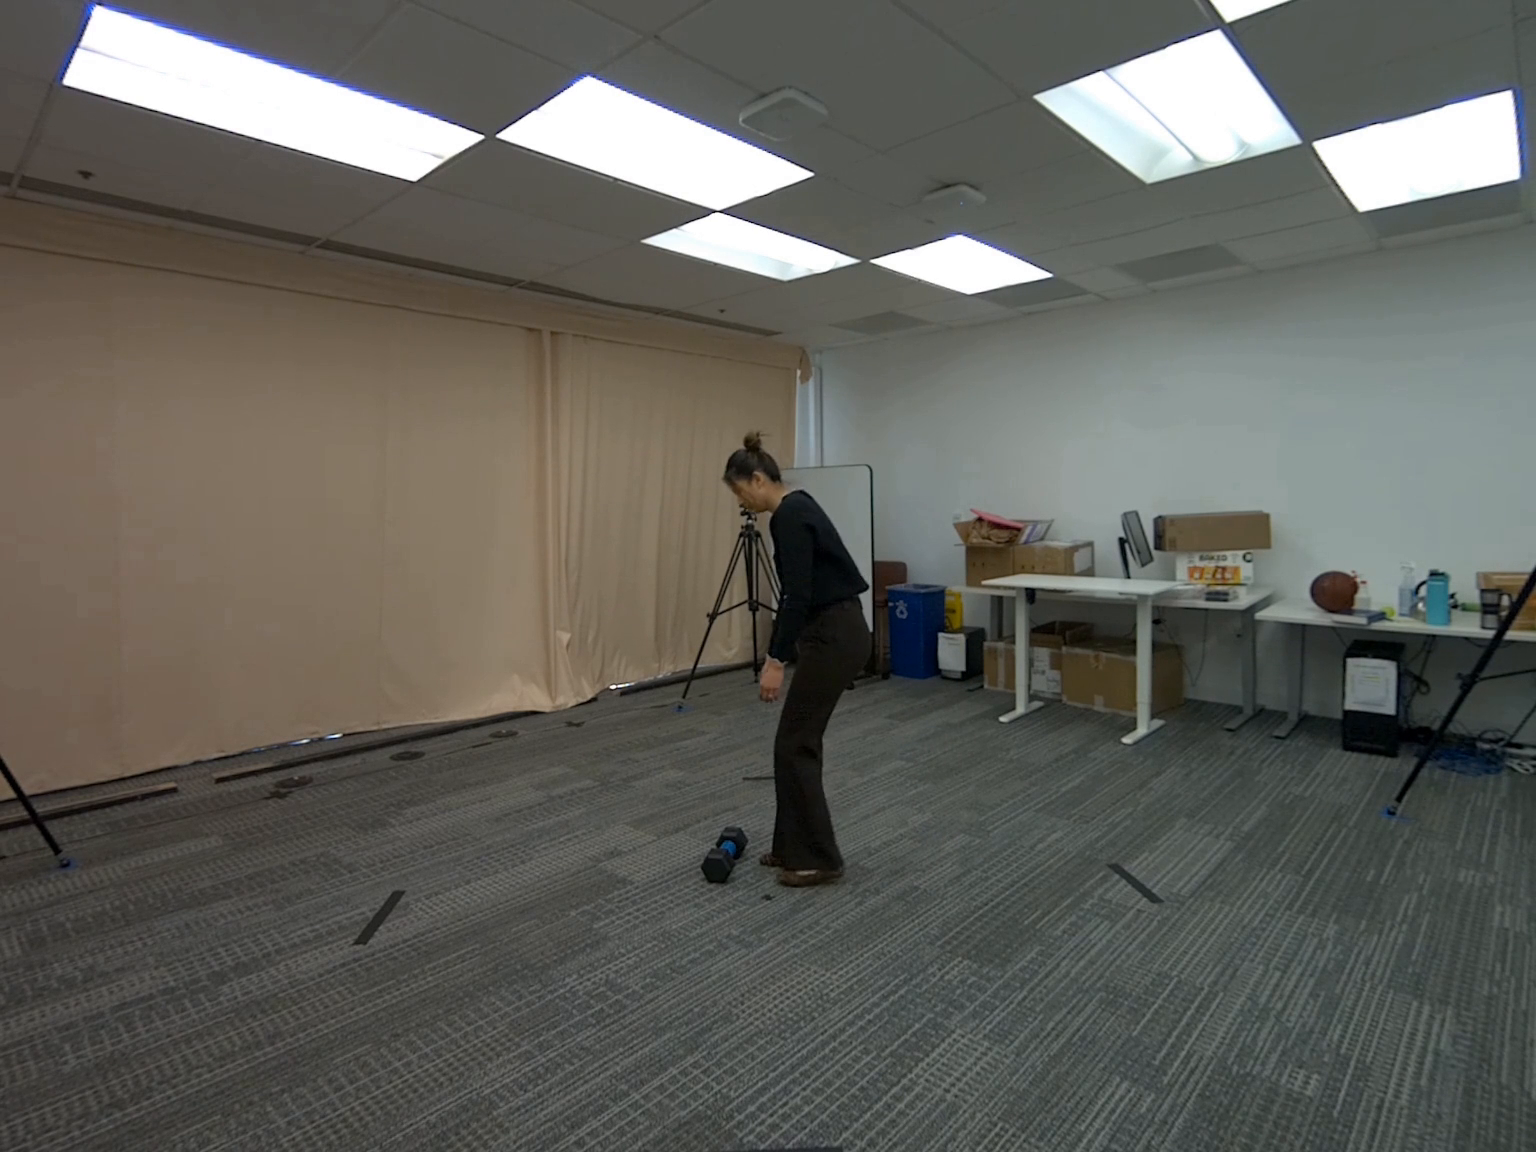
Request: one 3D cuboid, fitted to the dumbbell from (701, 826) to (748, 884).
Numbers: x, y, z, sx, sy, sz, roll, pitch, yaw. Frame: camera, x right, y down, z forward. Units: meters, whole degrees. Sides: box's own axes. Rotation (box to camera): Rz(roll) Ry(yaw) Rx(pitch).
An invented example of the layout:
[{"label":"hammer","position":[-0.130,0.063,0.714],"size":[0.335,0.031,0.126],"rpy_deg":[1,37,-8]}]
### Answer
[{"label":"dumbbell","position":[-0.160,1.071,3.238],"size":[0.110,0.123,0.290],"rpy_deg":[29,10,7]}]
